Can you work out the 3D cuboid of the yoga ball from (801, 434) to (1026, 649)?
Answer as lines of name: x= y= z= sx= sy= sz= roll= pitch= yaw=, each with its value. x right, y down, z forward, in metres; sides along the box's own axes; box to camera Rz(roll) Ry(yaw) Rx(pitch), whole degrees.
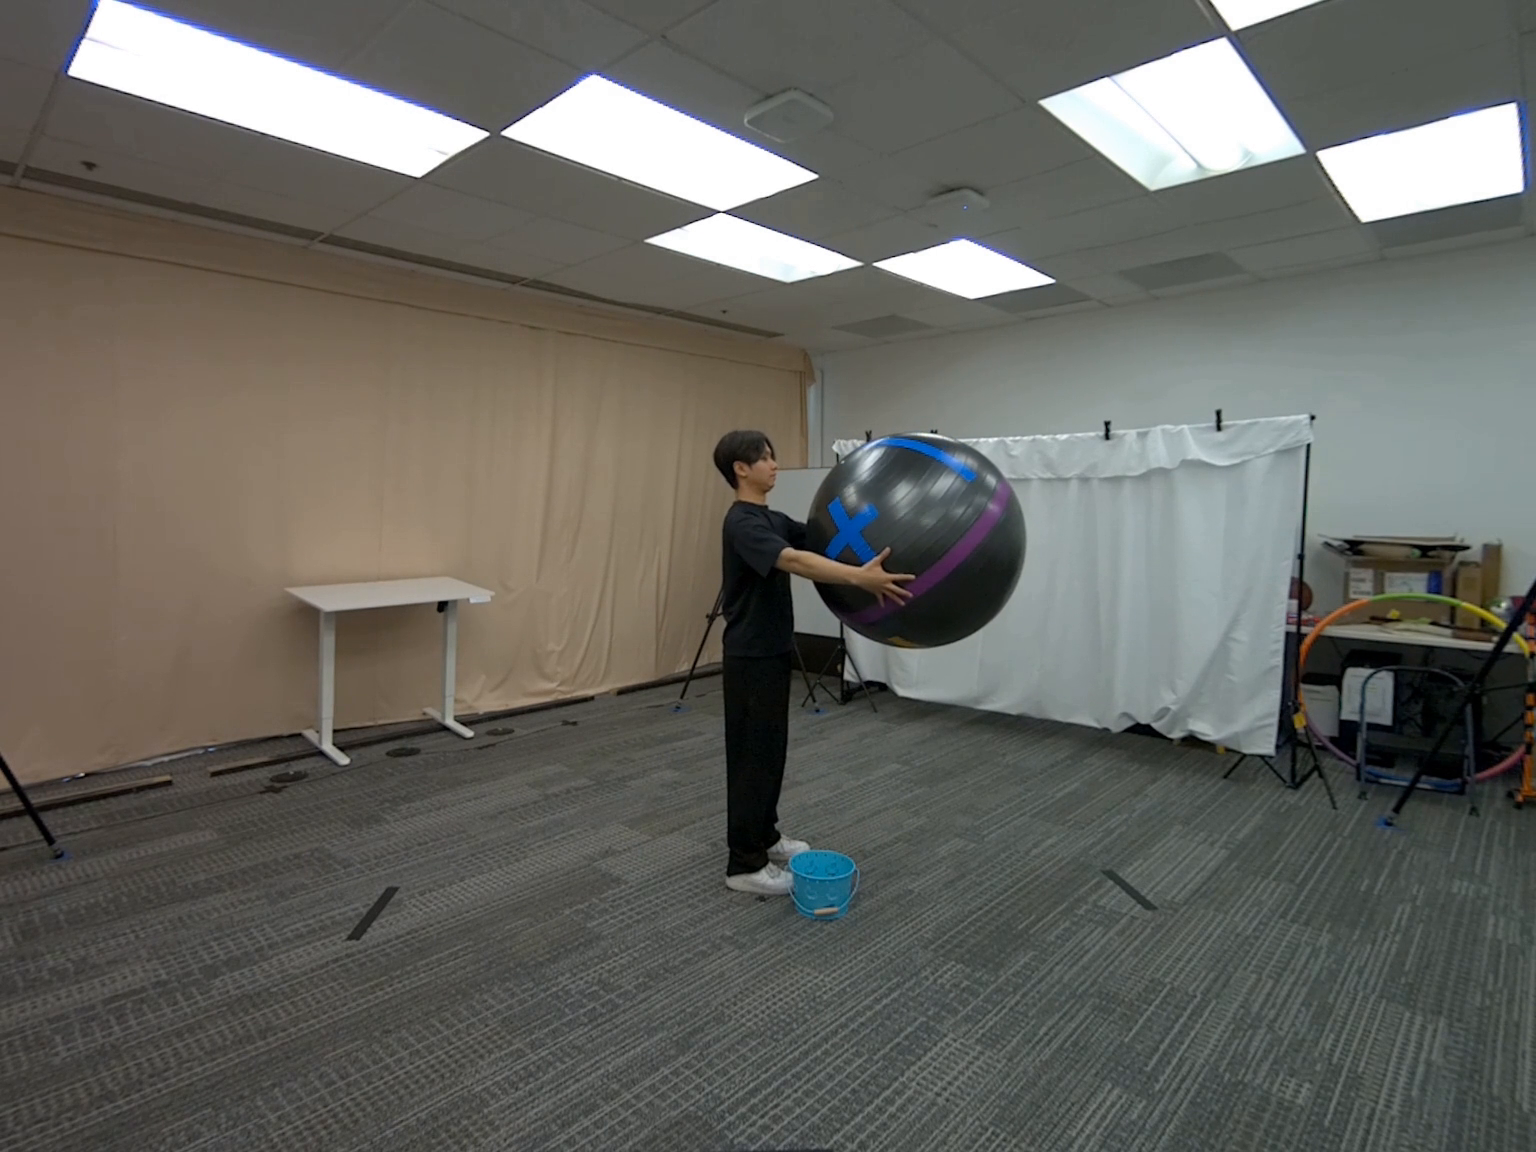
yoga ball: x=0.516 y=-0.114 z=2.985 sx=0.757 sy=0.756 sz=0.761 roll=0 pitch=4 yaw=-2
